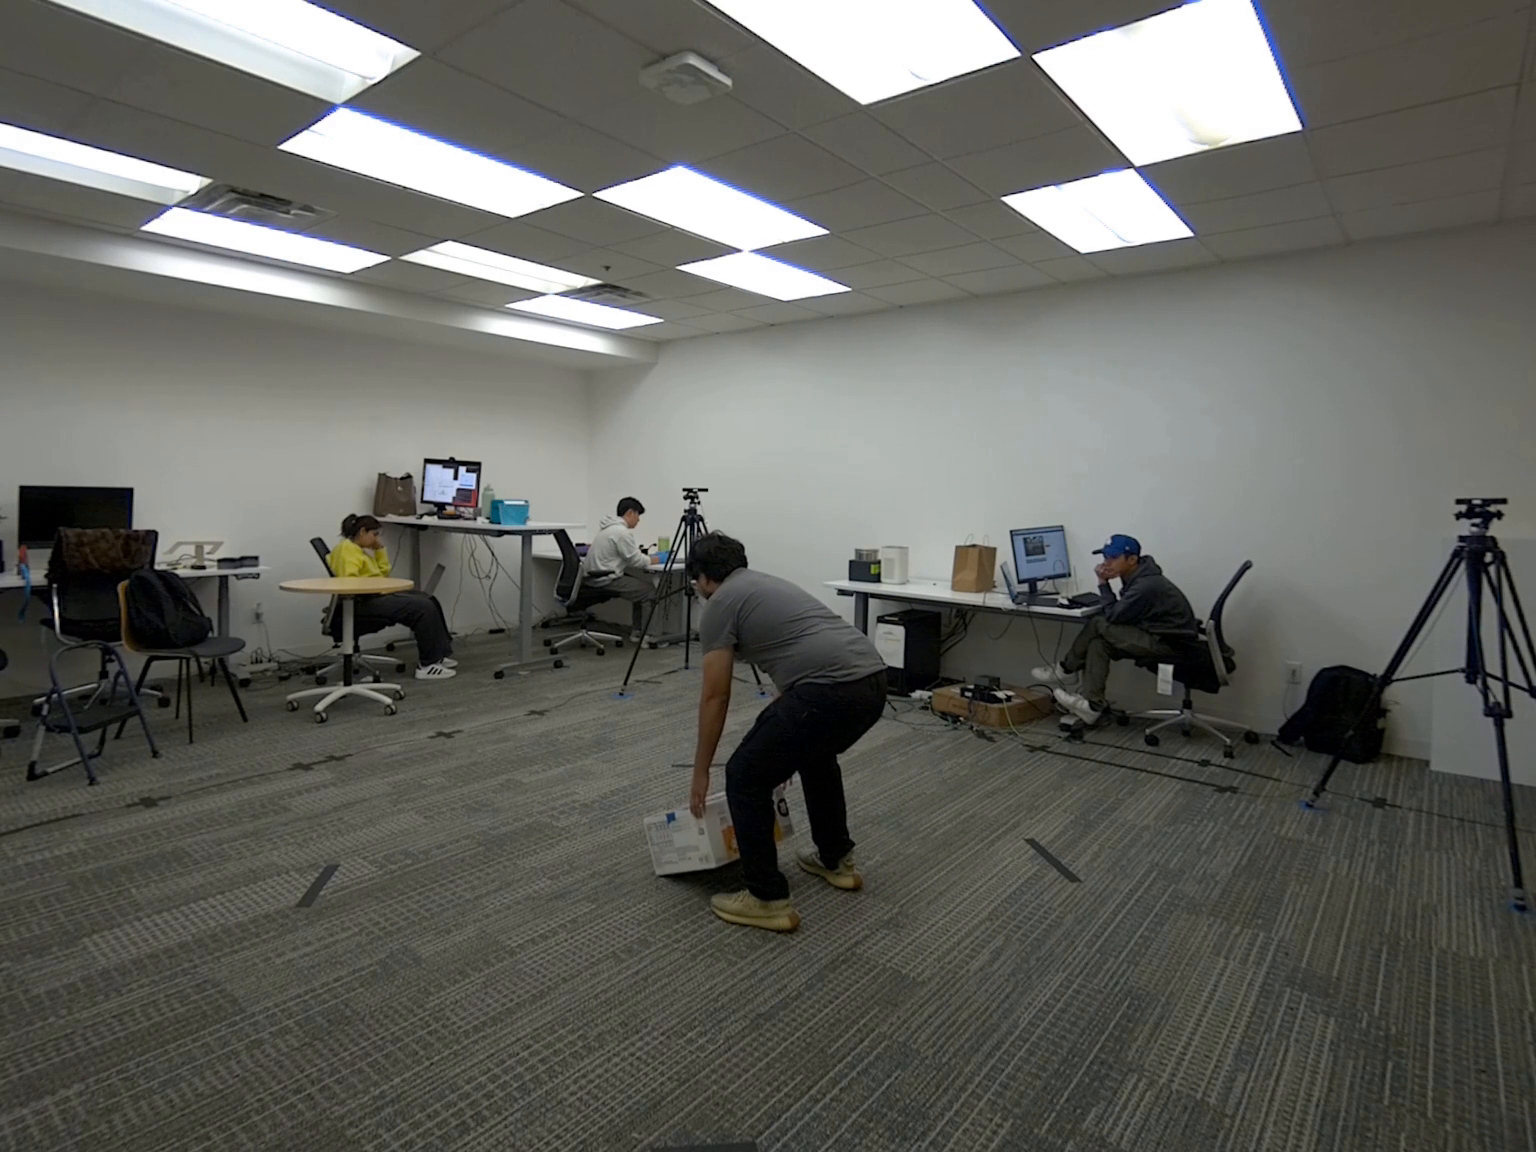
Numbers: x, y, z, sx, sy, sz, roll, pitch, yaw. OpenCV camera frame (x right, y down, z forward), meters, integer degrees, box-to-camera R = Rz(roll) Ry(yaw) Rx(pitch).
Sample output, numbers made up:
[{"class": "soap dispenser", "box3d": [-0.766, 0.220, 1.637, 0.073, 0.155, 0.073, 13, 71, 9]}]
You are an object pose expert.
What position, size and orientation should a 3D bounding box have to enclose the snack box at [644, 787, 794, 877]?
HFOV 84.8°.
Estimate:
[{"class": "snack box", "box3d": [-0.188, 0.914, 3.101, 0.393, 0.209, 0.345, -4, -16, -46]}]
